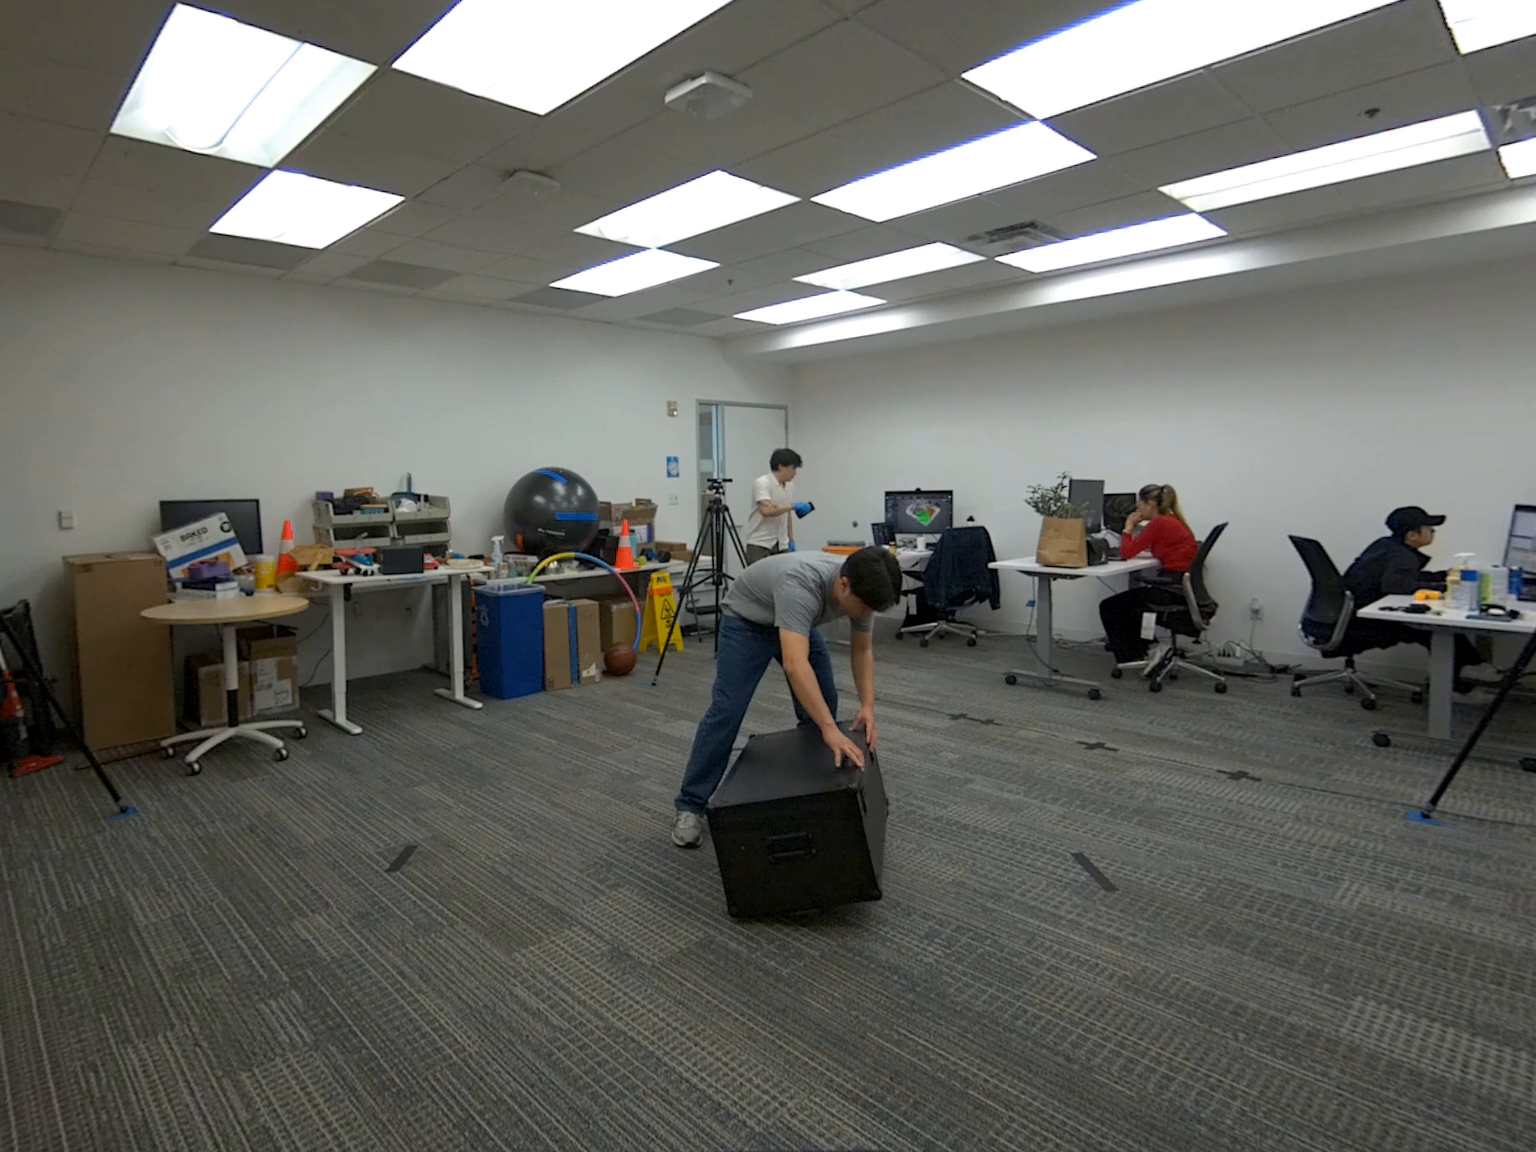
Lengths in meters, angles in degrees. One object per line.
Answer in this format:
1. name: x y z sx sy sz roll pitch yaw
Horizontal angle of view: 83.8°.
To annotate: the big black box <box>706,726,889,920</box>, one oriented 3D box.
1. big black box: 0.149 0.821 3.031 0.526 0.395 0.856 -12 4 11
